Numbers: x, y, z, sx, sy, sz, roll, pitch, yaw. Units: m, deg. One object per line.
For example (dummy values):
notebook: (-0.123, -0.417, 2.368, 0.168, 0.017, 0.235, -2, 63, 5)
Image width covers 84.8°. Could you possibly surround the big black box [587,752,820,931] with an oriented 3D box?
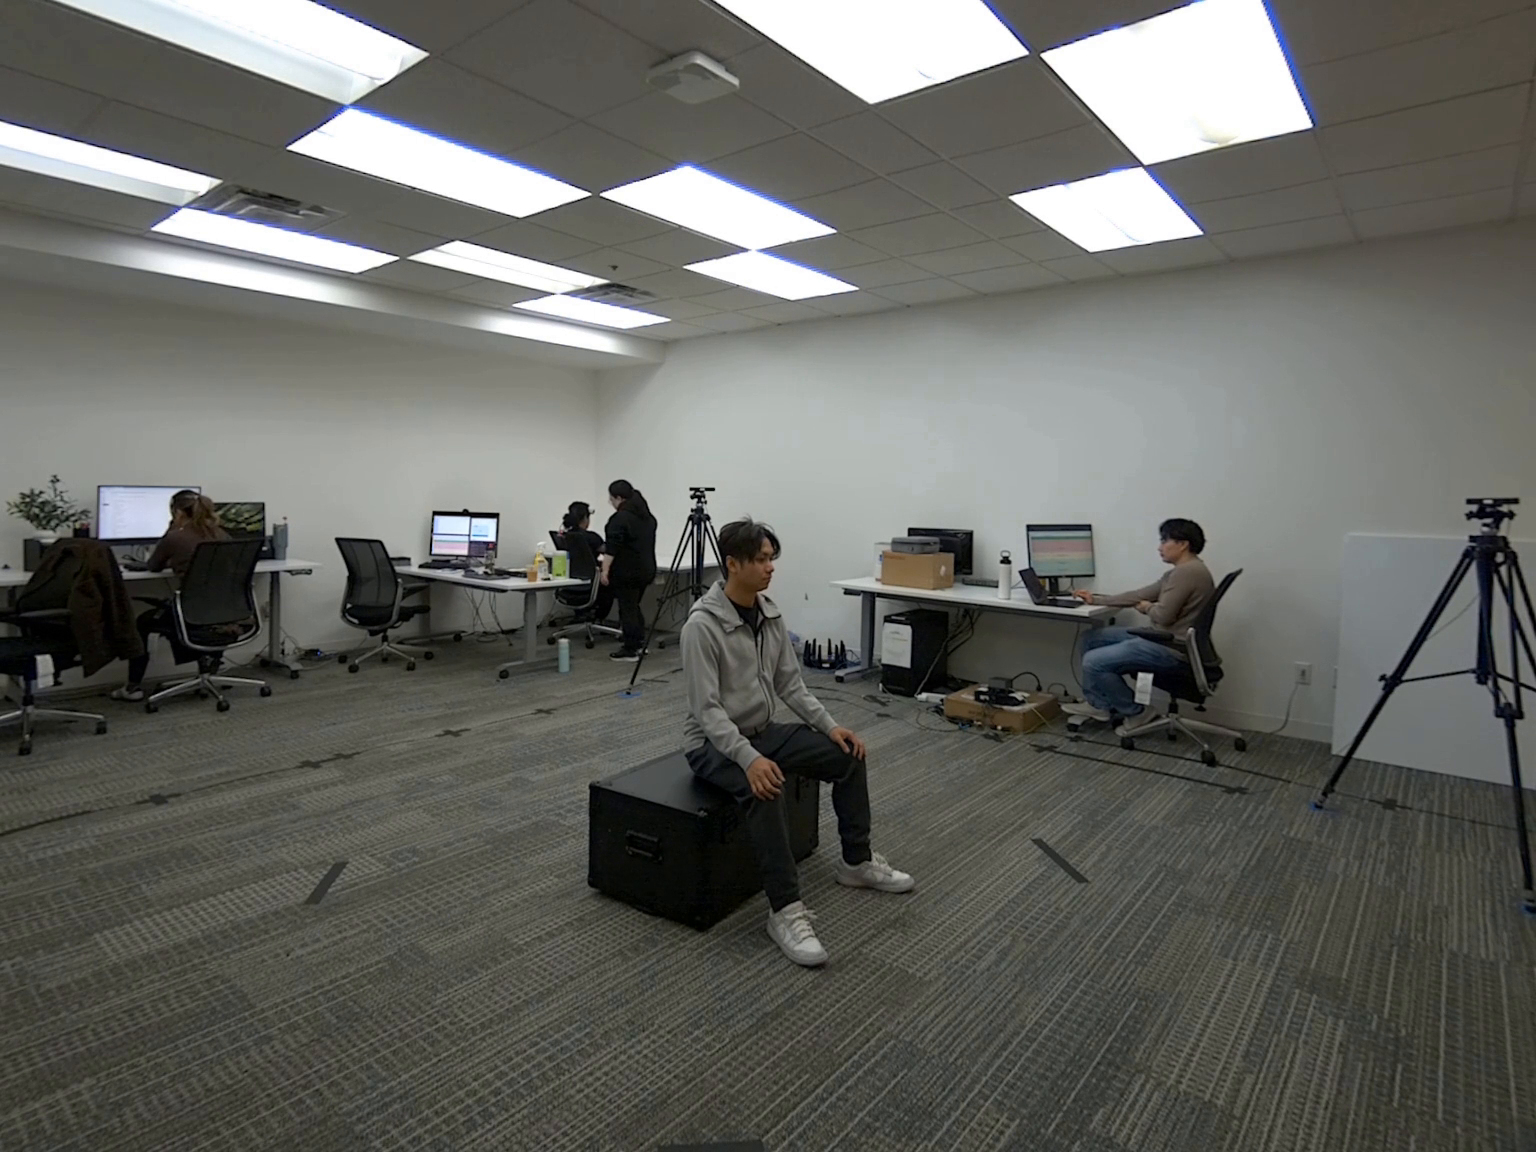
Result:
big black box: (-0.238, 0.886, 3.060, 0.537, 0.395, 0.838, 4, 6, 32)
